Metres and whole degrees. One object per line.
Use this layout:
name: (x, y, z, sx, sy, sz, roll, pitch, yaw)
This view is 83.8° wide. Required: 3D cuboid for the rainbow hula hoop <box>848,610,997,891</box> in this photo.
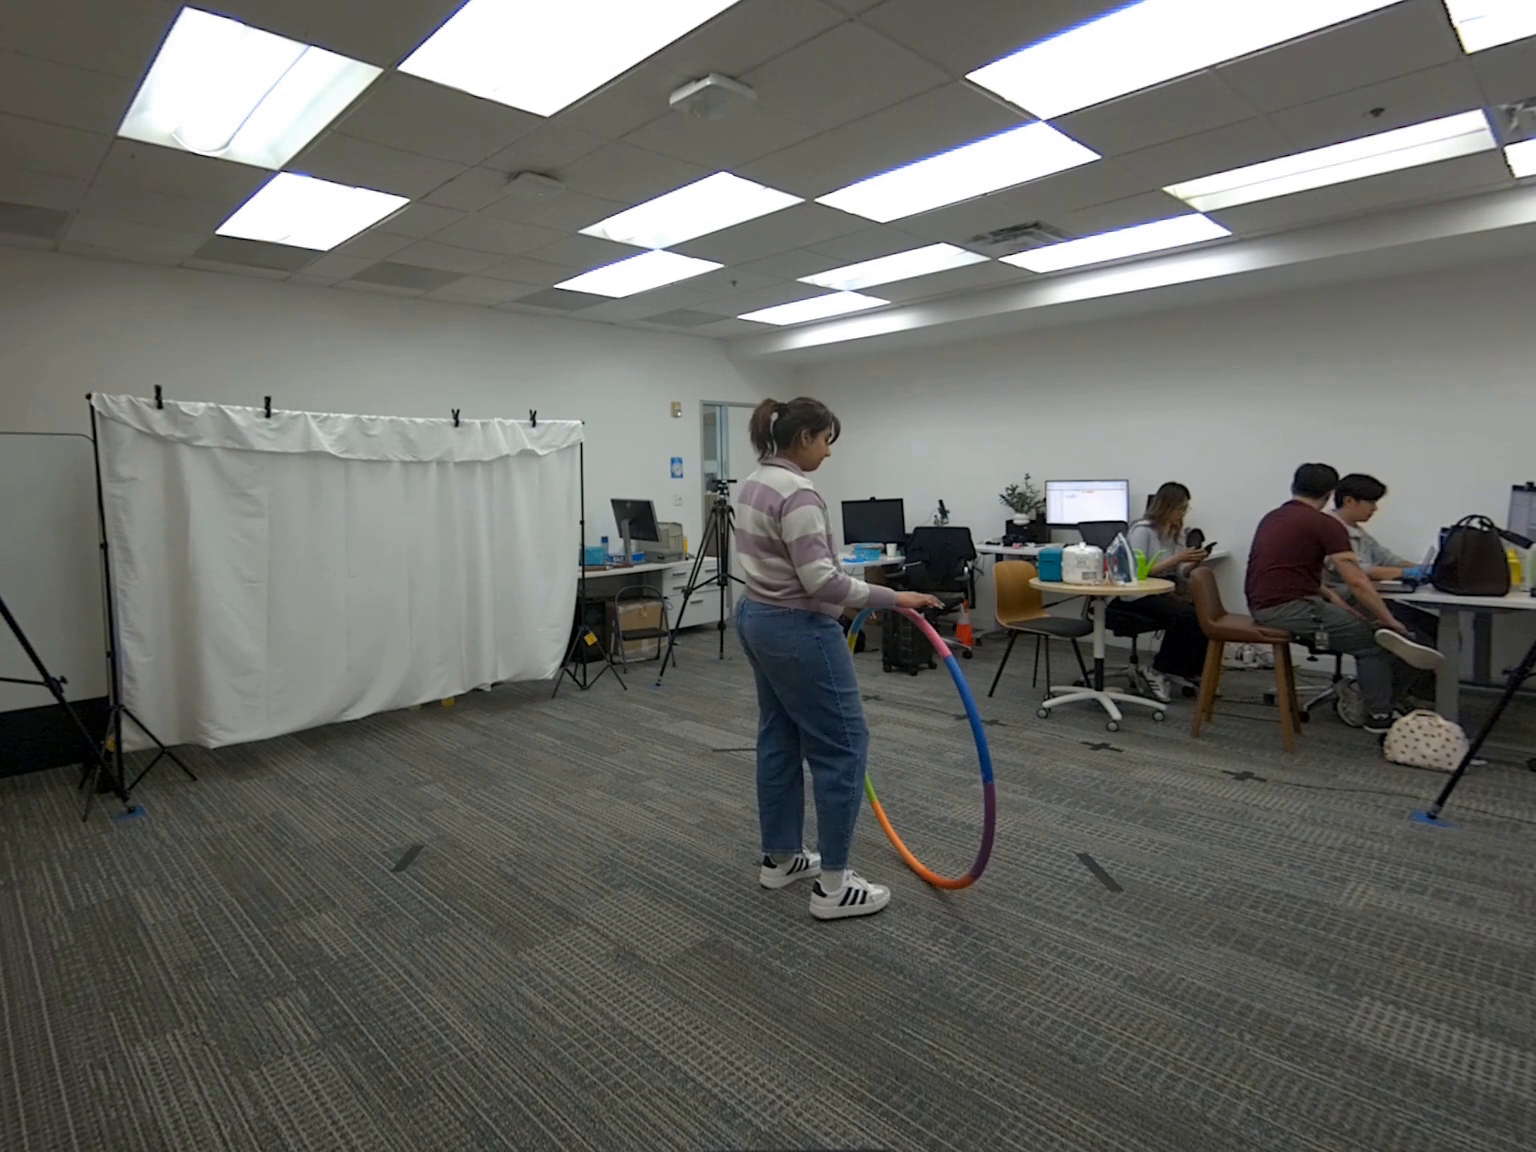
rainbow hula hoop: (0.488, 0.571, 2.955, 0.051, 0.980, 1.005, -7, 6, -18)
